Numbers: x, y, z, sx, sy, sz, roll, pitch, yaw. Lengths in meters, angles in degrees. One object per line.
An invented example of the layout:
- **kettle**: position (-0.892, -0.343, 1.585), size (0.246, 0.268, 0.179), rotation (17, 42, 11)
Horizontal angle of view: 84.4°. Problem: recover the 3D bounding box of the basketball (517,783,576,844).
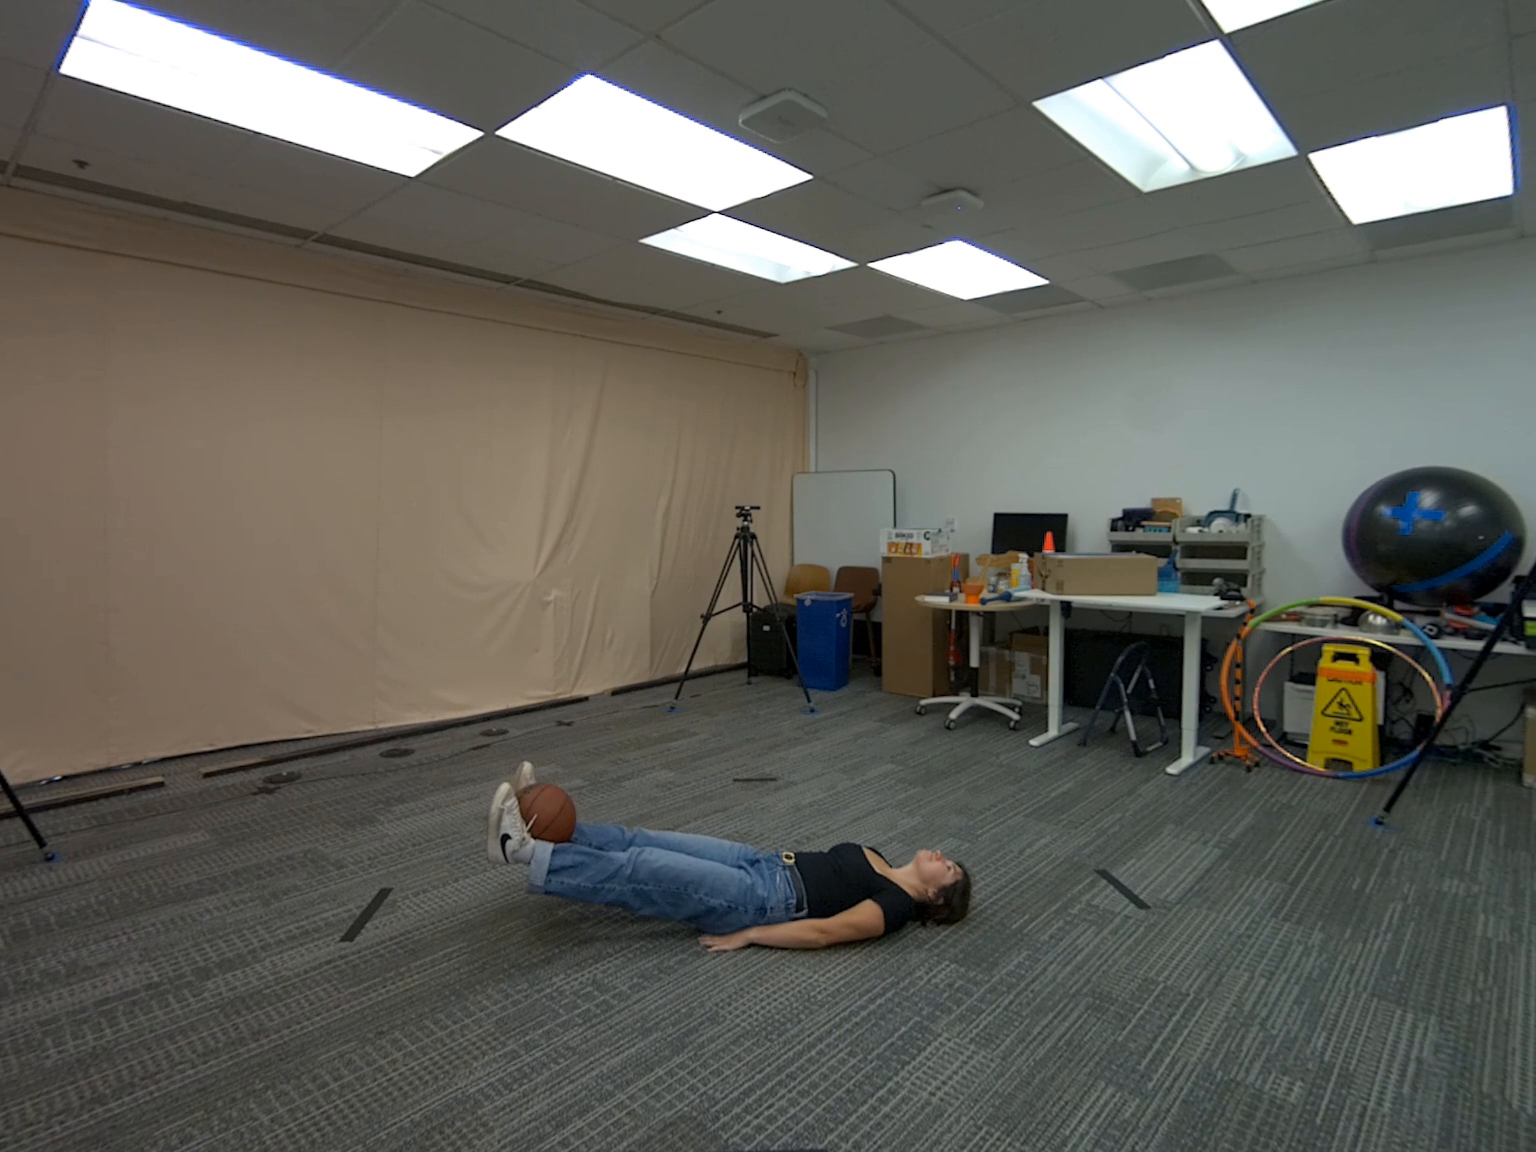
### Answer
- **basketball**: position (-0.756, 0.808, 2.787), size (0.236, 0.235, 0.237), rotation (0, 4, -2)
